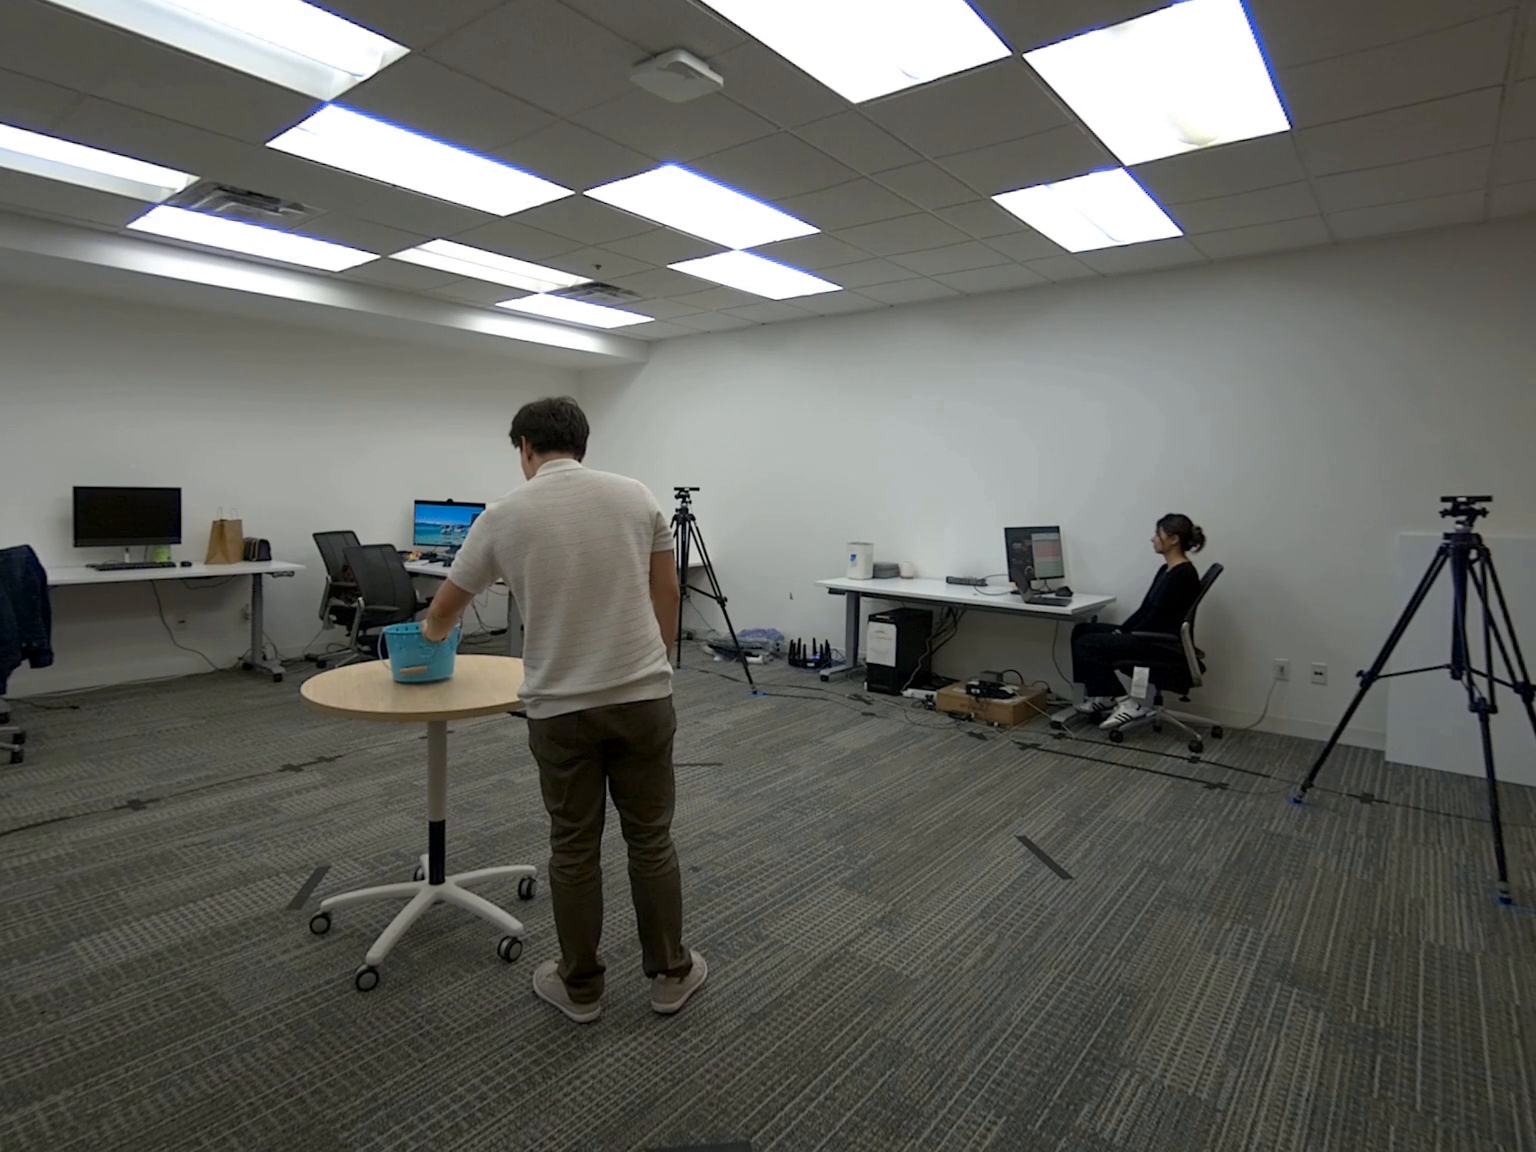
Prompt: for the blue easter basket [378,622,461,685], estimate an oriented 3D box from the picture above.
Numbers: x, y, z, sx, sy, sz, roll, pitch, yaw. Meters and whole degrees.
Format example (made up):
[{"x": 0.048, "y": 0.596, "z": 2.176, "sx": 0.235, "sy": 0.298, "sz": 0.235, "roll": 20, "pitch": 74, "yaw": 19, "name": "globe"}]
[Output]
[{"x": -1.087, "y": 0.237, "z": 2.627, "sx": 0.243, "sy": 0.155, "sz": 0.244, "roll": -3, "pitch": 3, "yaw": -2, "name": "blue easter basket"}]
